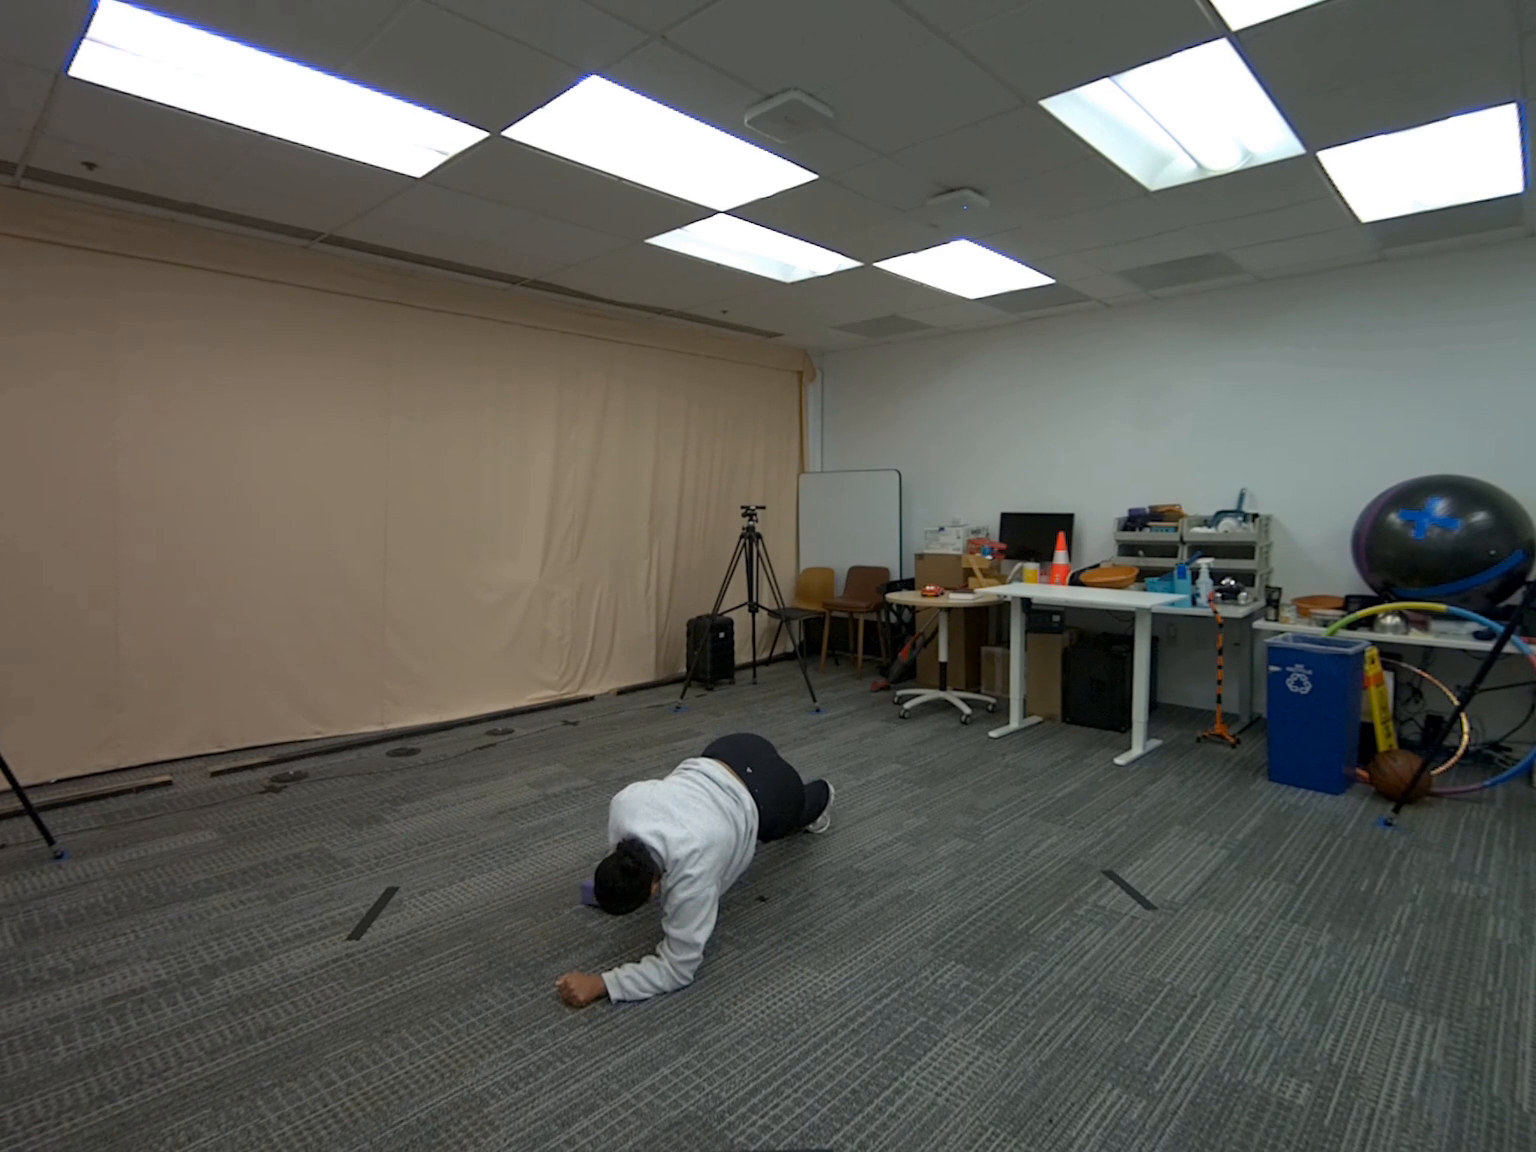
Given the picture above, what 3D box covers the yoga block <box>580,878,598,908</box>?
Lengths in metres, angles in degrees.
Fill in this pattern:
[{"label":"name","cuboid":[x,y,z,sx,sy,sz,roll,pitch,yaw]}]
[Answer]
[{"label":"yoga block","cuboid":[-0.532,1.105,2.988,0.153,0.076,0.223,-10,1,35]}]
